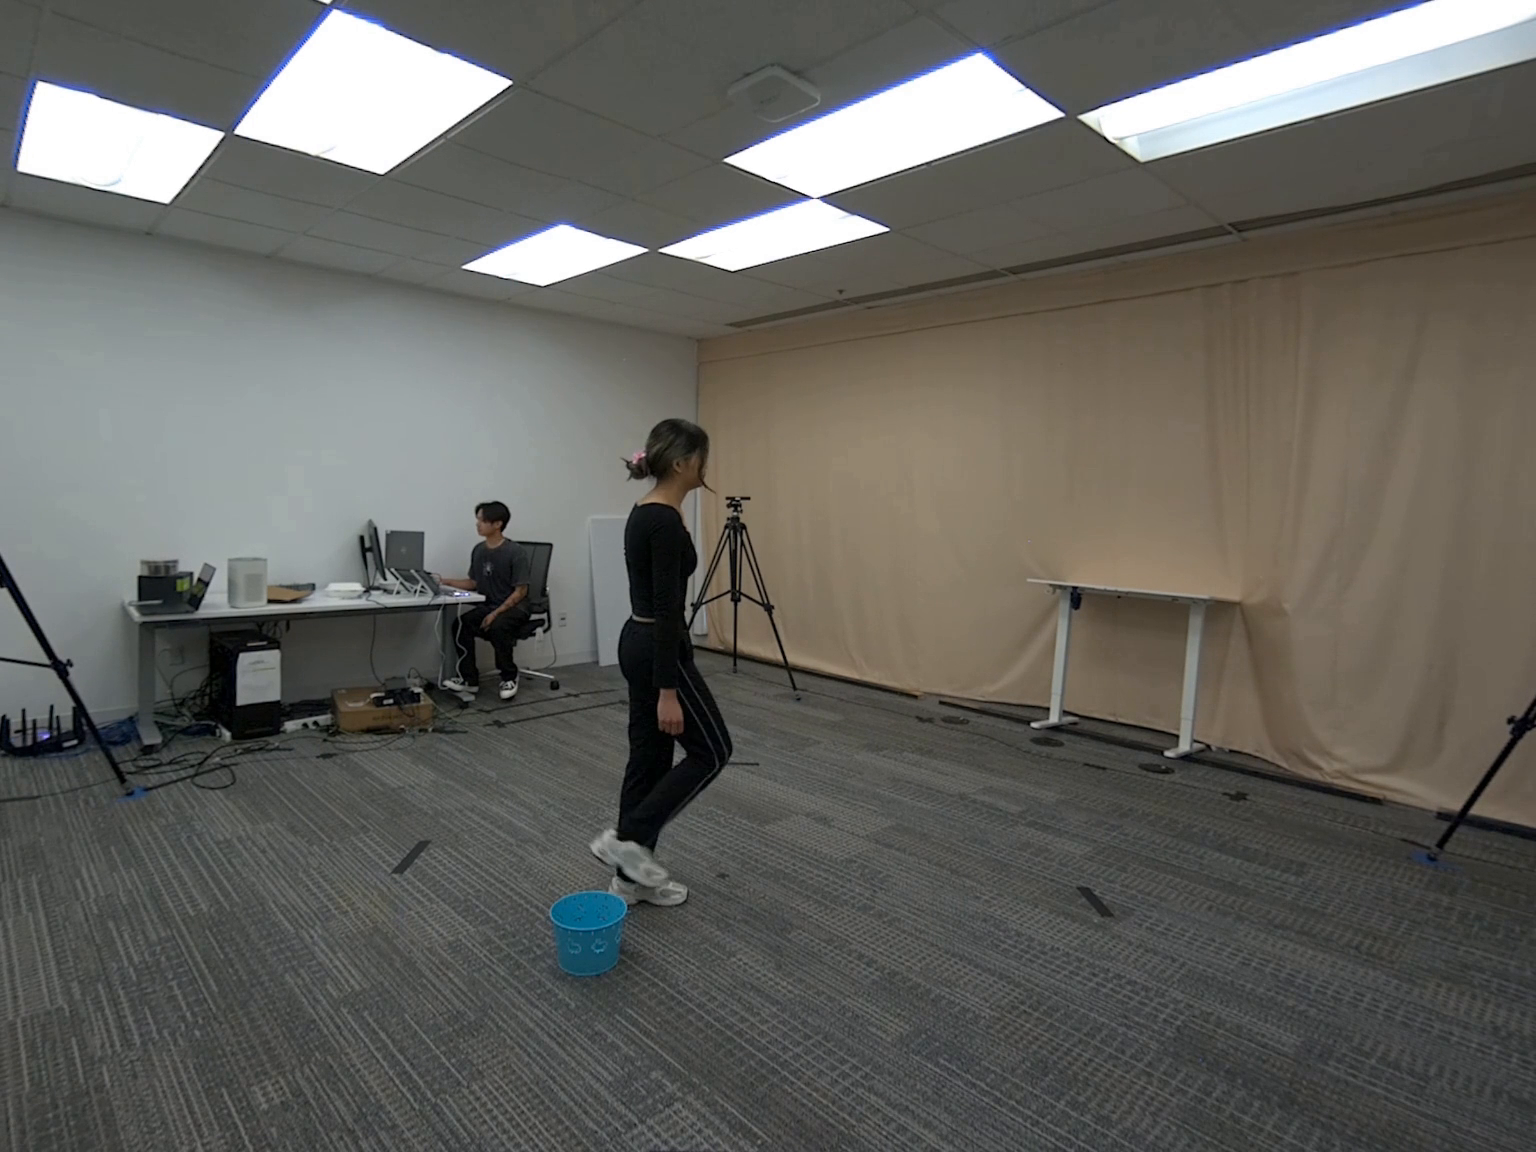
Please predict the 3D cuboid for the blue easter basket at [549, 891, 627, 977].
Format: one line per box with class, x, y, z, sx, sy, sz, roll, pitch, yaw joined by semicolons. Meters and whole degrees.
blue easter basket;-0.553;1.073;2.521;0.243;0.155;0.244;0;5;-1
